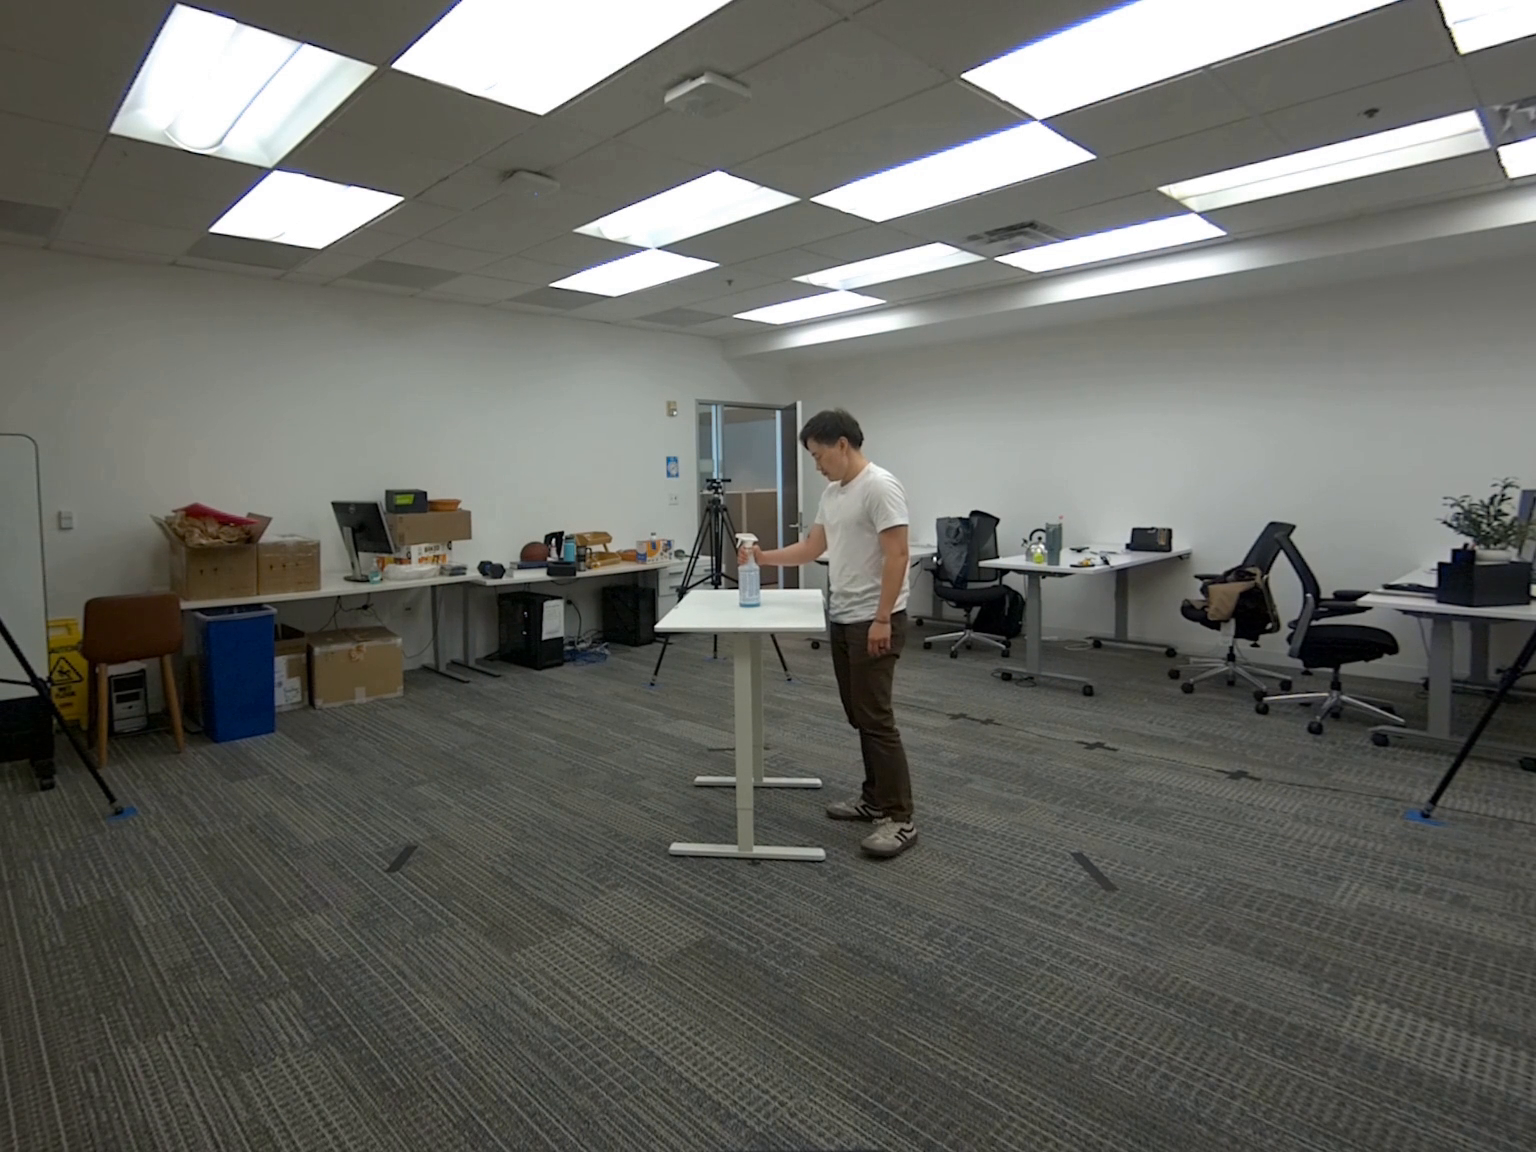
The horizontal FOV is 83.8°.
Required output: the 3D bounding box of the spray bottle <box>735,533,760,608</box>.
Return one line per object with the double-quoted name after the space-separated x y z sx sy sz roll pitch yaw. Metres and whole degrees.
-0.081 -0.028 3.479 0.091 0.297 0.086 -2 2 9 "spray bottle"
